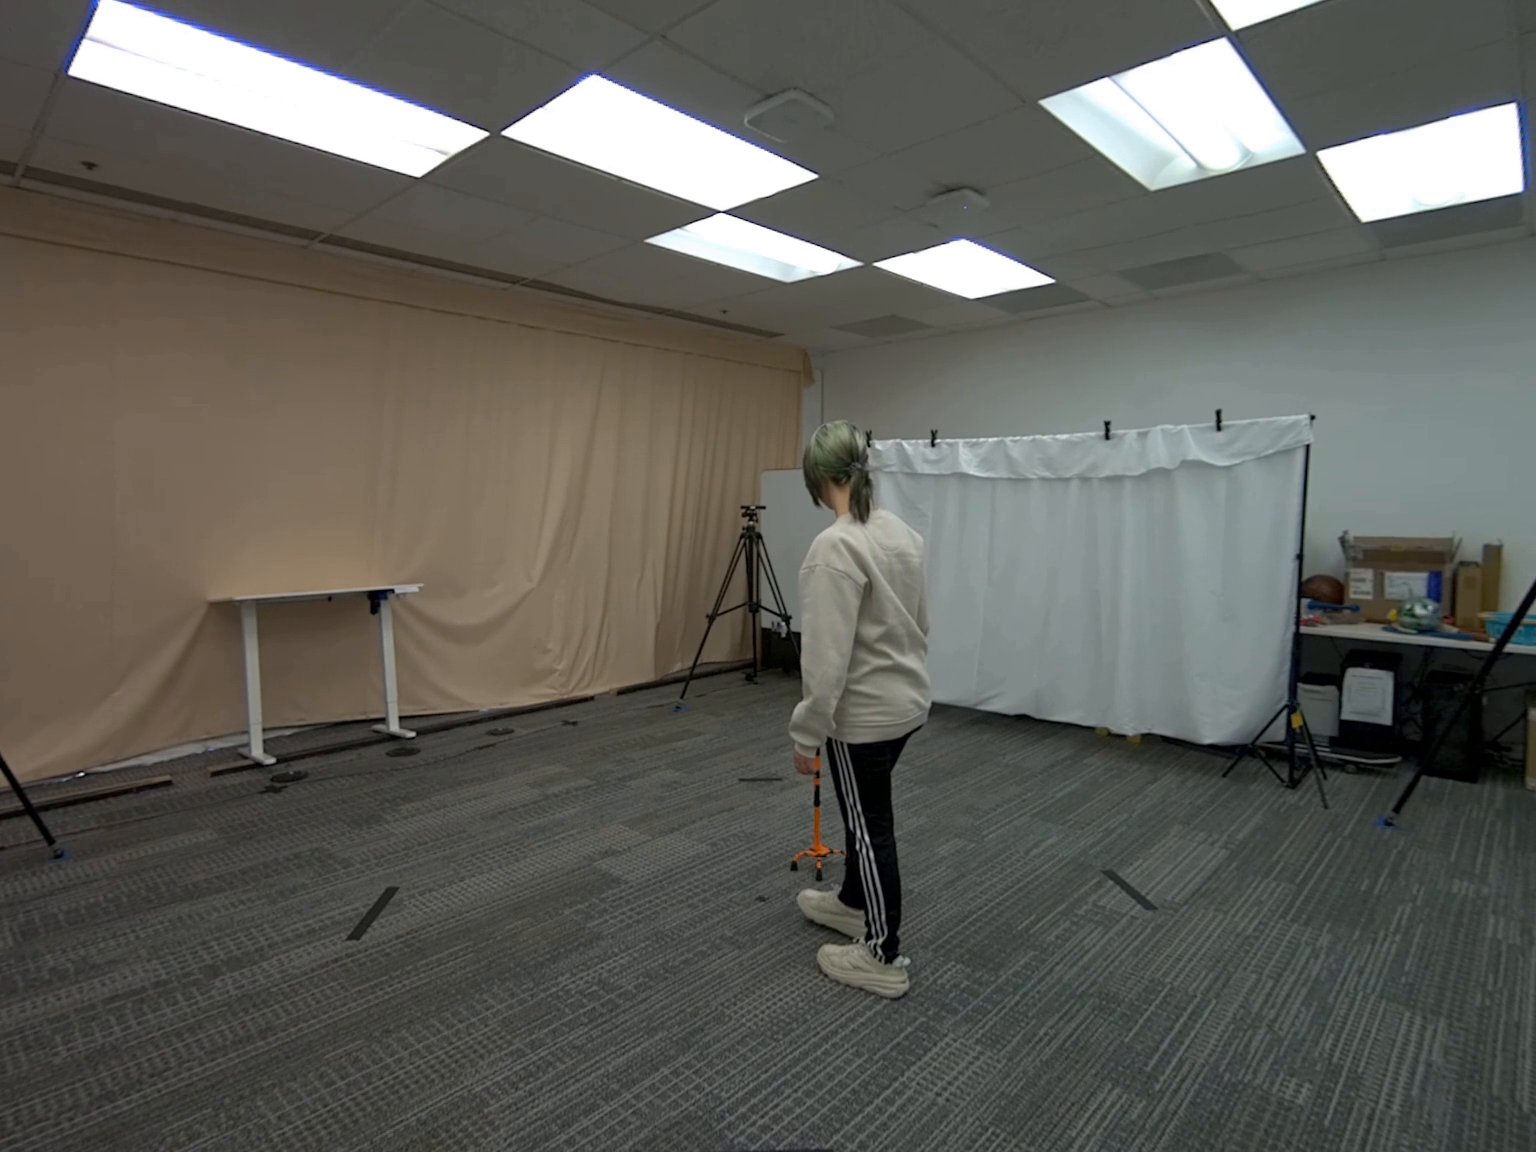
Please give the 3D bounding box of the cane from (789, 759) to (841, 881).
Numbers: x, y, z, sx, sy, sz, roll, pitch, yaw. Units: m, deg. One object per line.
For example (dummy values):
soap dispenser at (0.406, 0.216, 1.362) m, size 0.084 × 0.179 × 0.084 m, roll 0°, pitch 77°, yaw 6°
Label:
cane at (0.196, 0.668, 3.216) m, size 0.200 × 0.906 × 0.156 m, roll -4°, pitch 3°, yaw -45°
